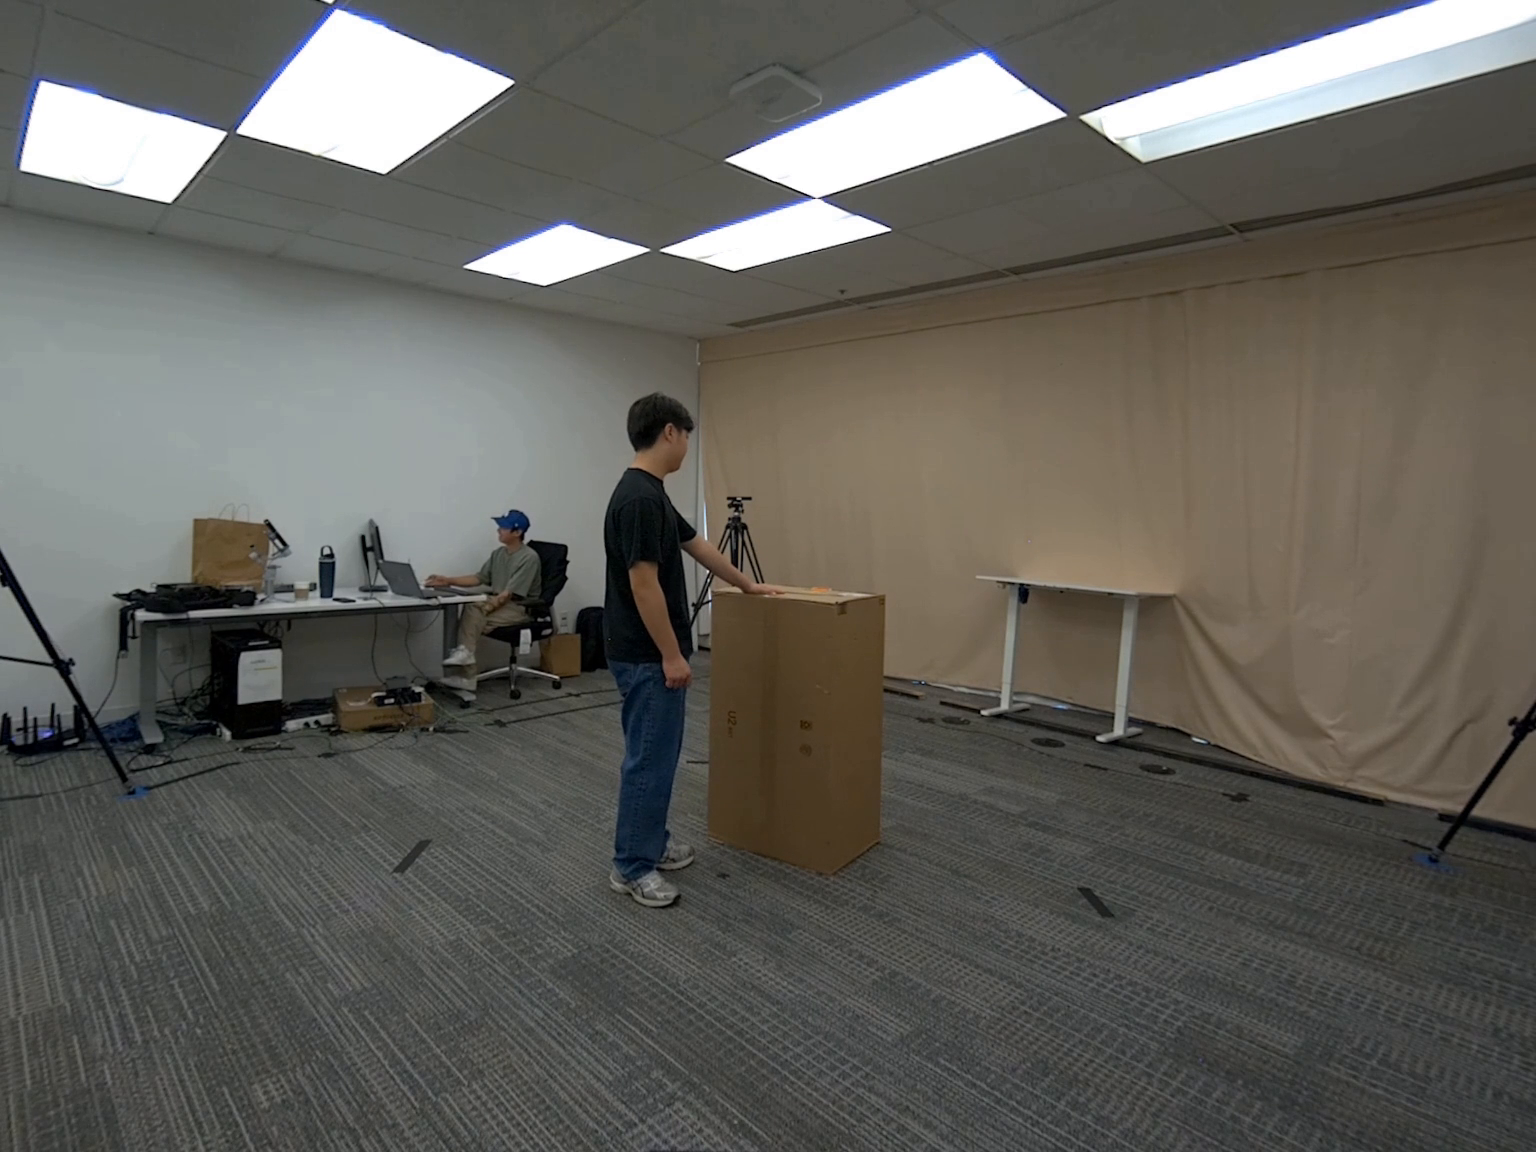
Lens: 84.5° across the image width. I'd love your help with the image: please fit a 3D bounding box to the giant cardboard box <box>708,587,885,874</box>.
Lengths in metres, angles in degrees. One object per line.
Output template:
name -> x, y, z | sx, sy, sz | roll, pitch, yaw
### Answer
giant cardboard box -> 0.114, 0.572, 3.429 | 0.598, 1.025, 0.437 | 4, 3, 36
